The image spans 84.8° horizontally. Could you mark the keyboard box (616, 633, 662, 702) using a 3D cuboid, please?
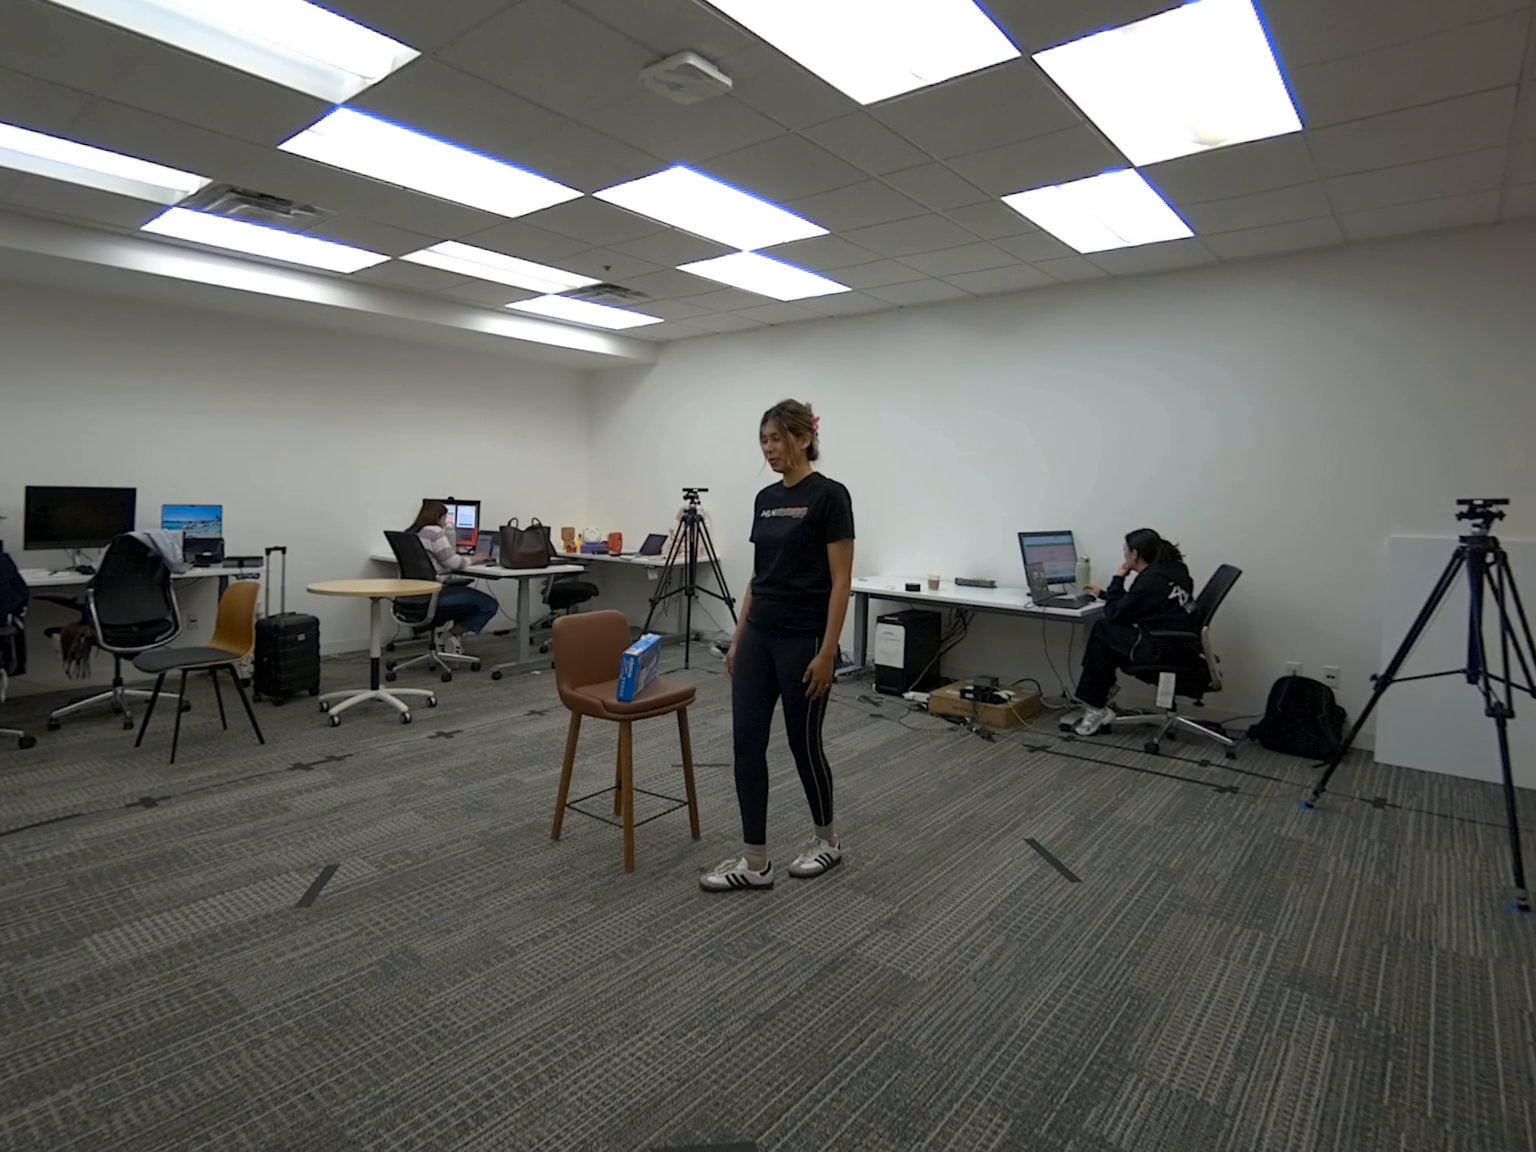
[{"bbox_3d":[-0.505,0.341,3.302,0.059,0.175,0.435,6,5,3],"label":"keyboard box"}]
